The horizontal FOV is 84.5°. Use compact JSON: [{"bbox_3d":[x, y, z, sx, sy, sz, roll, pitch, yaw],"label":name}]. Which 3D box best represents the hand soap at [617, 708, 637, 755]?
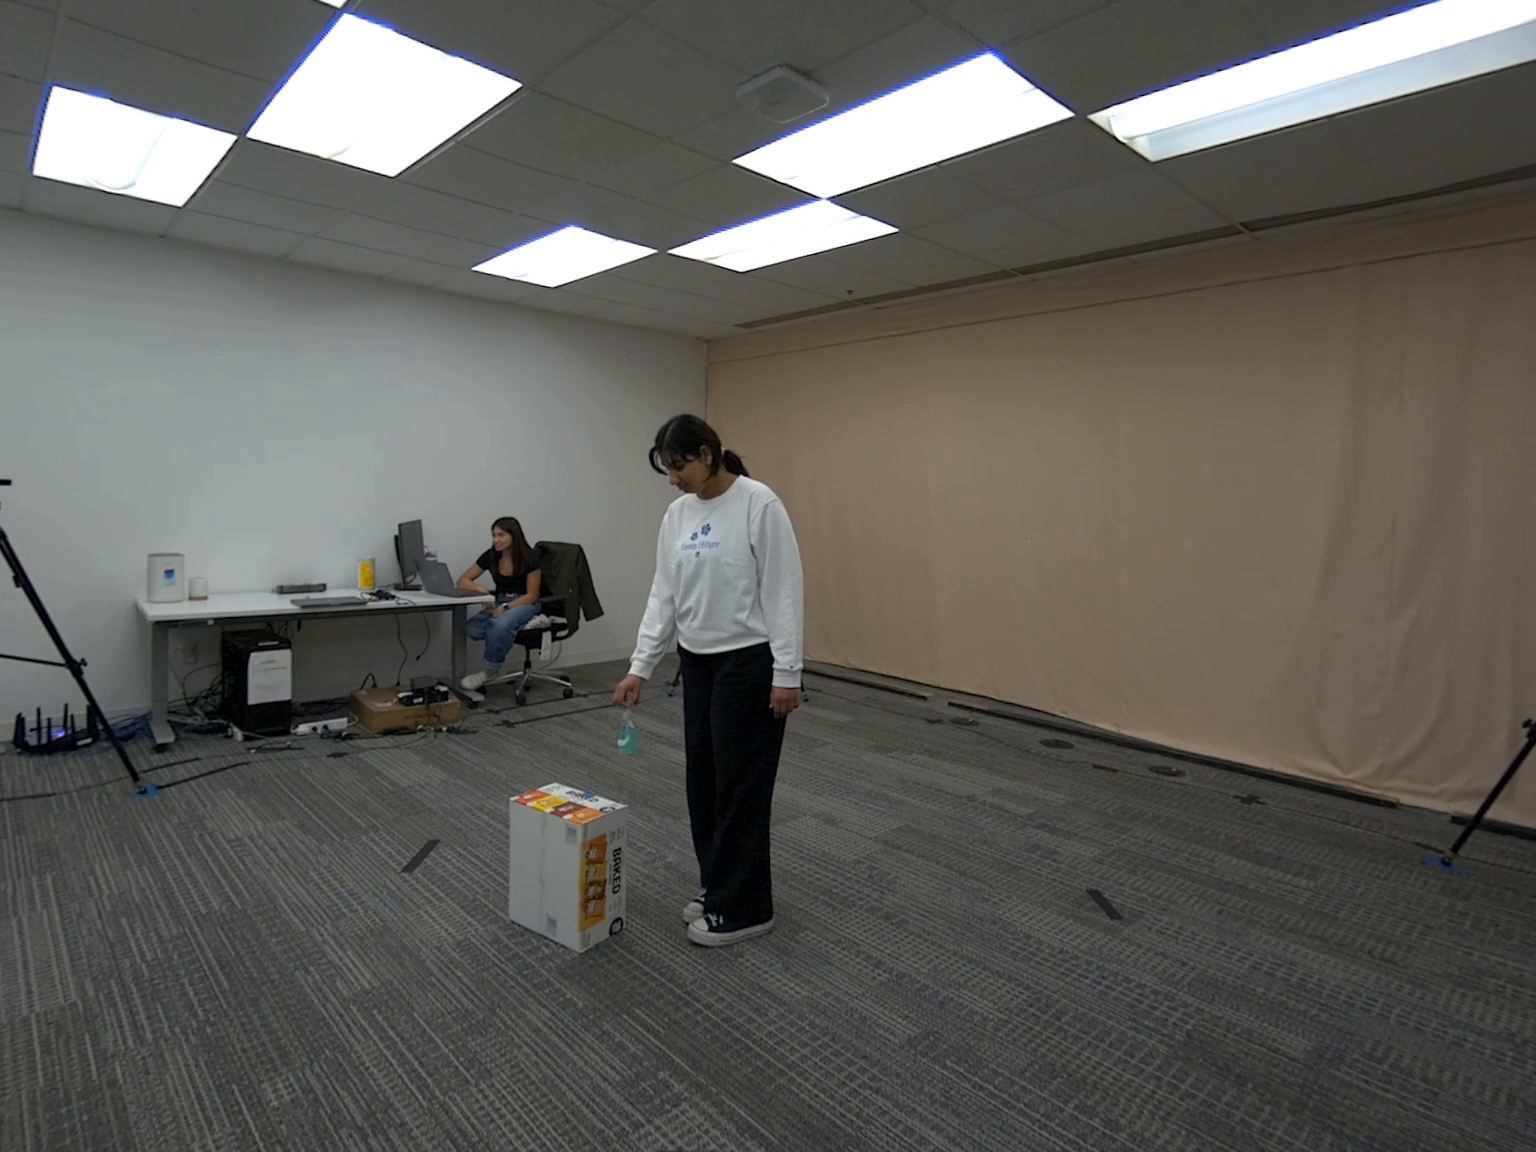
[{"bbox_3d":[-0.458,0.491,2.737,0.086,0.168,0.042,2,-2,35],"label":"hand soap"}]
